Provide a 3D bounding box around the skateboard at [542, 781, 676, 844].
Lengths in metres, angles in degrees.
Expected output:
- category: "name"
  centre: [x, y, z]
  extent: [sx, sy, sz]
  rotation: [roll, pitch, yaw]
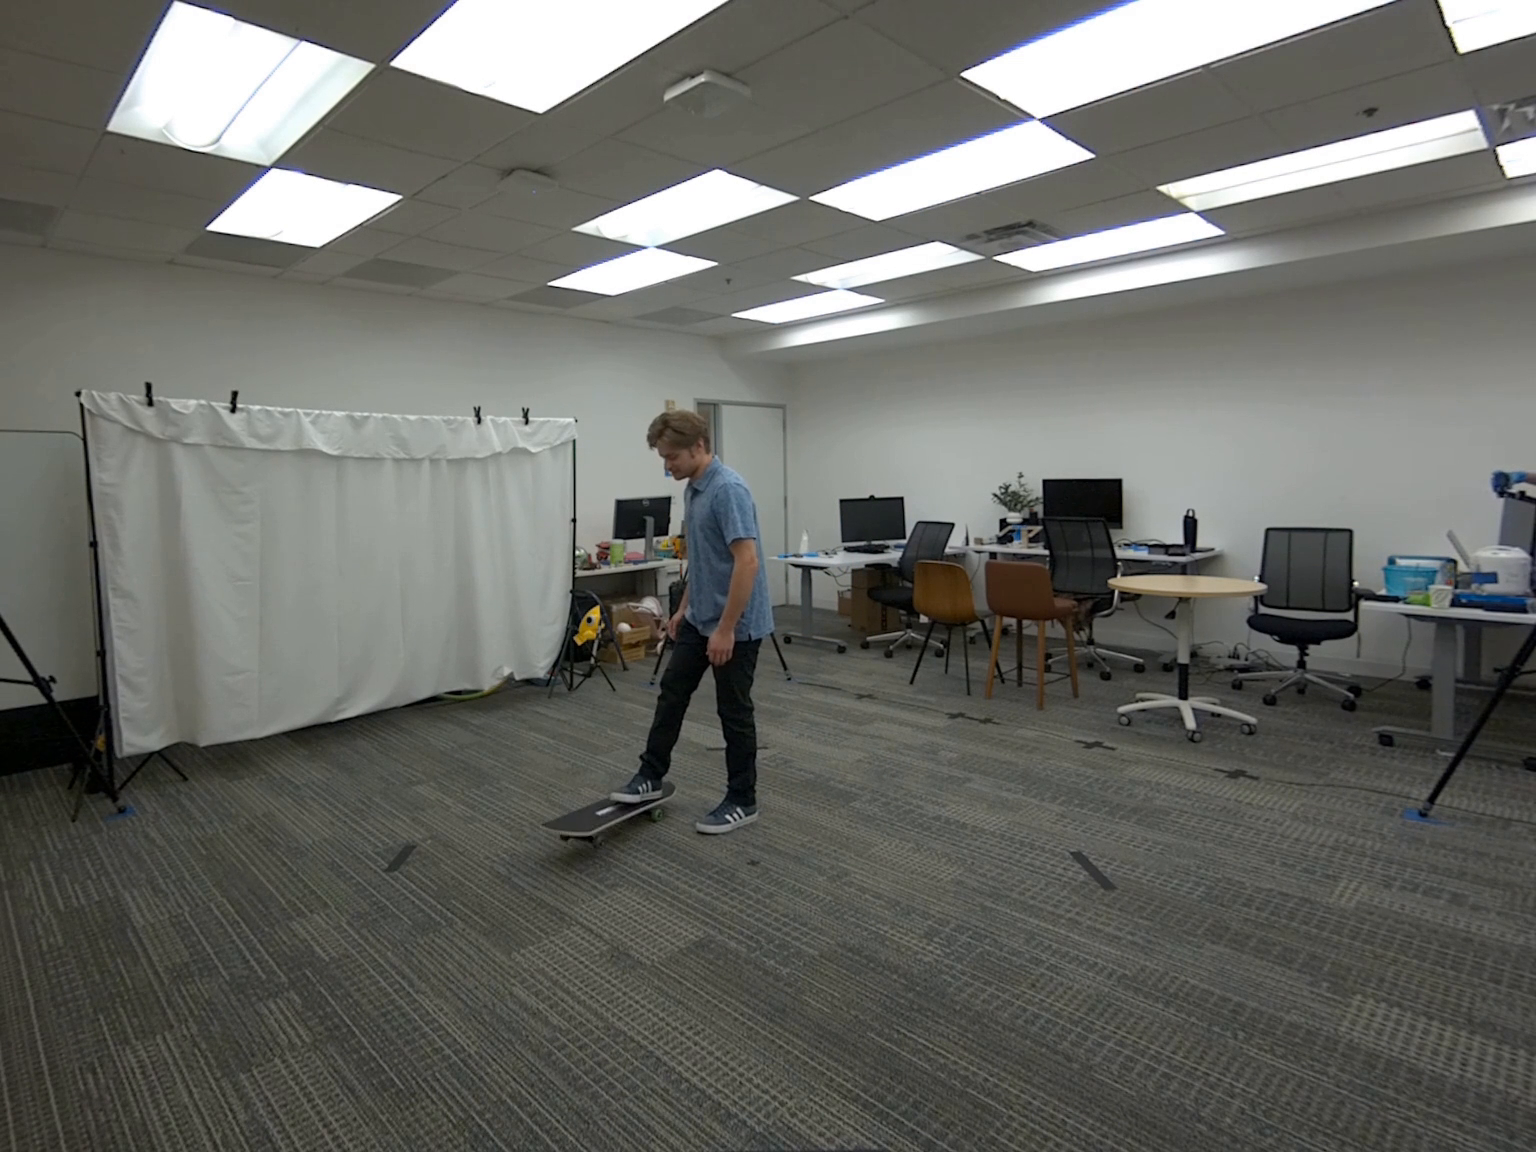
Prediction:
- category: "skateboard"
  centre: [-0.604, 0.947, 3.371]
  extent: [0.198, 0.110, 0.767]
  rotation: [2, 1, 25]
